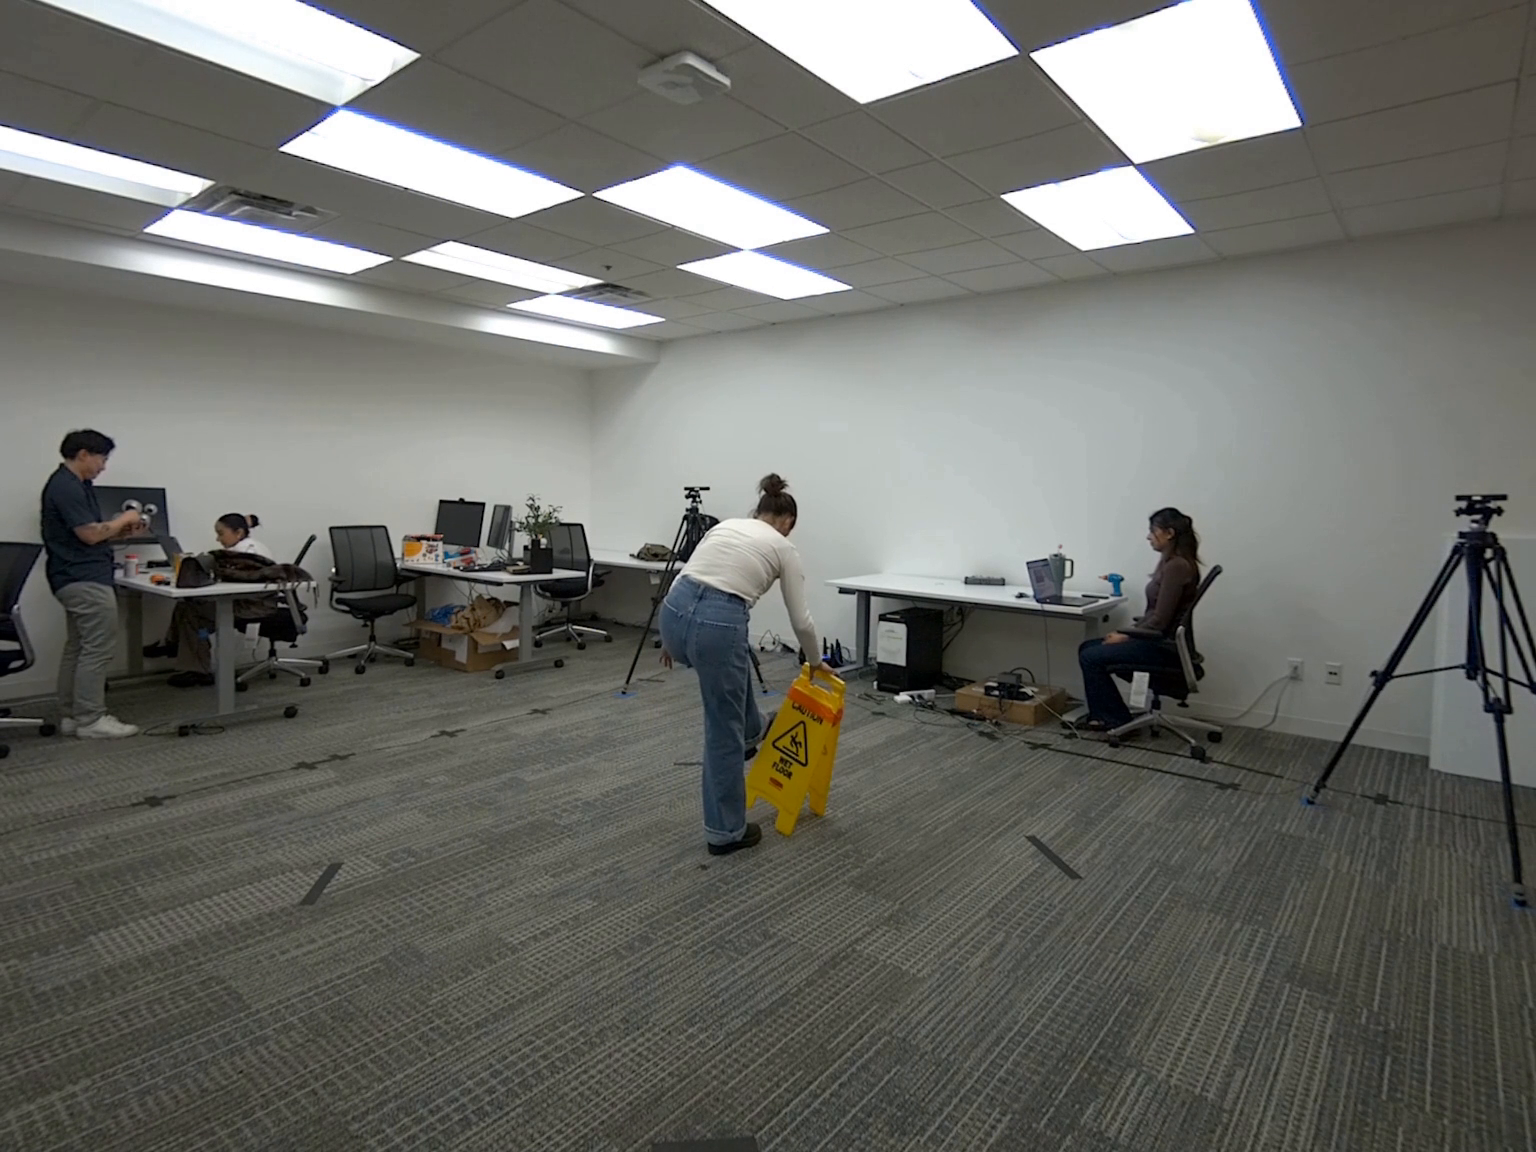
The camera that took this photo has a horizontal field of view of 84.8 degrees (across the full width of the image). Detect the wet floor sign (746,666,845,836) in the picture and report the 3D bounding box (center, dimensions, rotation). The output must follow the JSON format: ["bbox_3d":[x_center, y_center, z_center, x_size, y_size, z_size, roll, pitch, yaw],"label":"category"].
[{"bbox_3d":[0.132,0.686,3.525,0.293,0.641,0.281,25,15,31],"label":"wet floor sign"}]
